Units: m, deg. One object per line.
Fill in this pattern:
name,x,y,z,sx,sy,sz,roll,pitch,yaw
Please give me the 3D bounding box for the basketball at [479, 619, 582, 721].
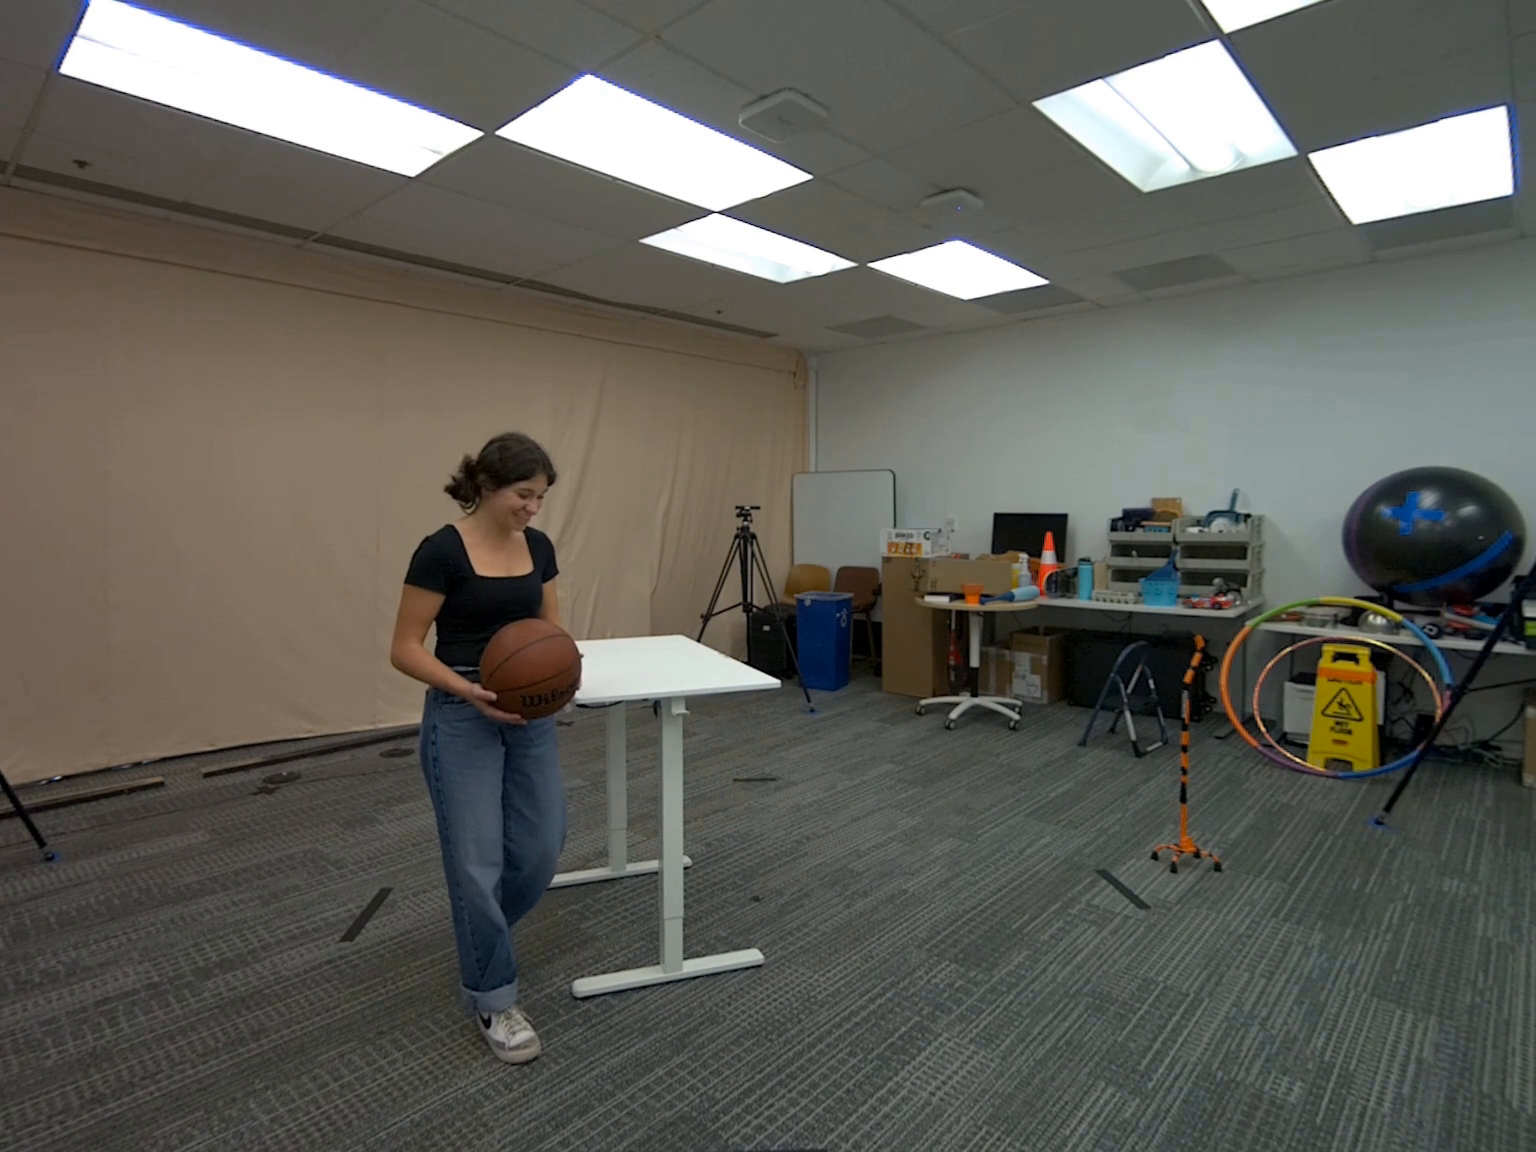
basketball,-0.567,0.223,1.990,0.236,0.235,0.237,0,4,-2
